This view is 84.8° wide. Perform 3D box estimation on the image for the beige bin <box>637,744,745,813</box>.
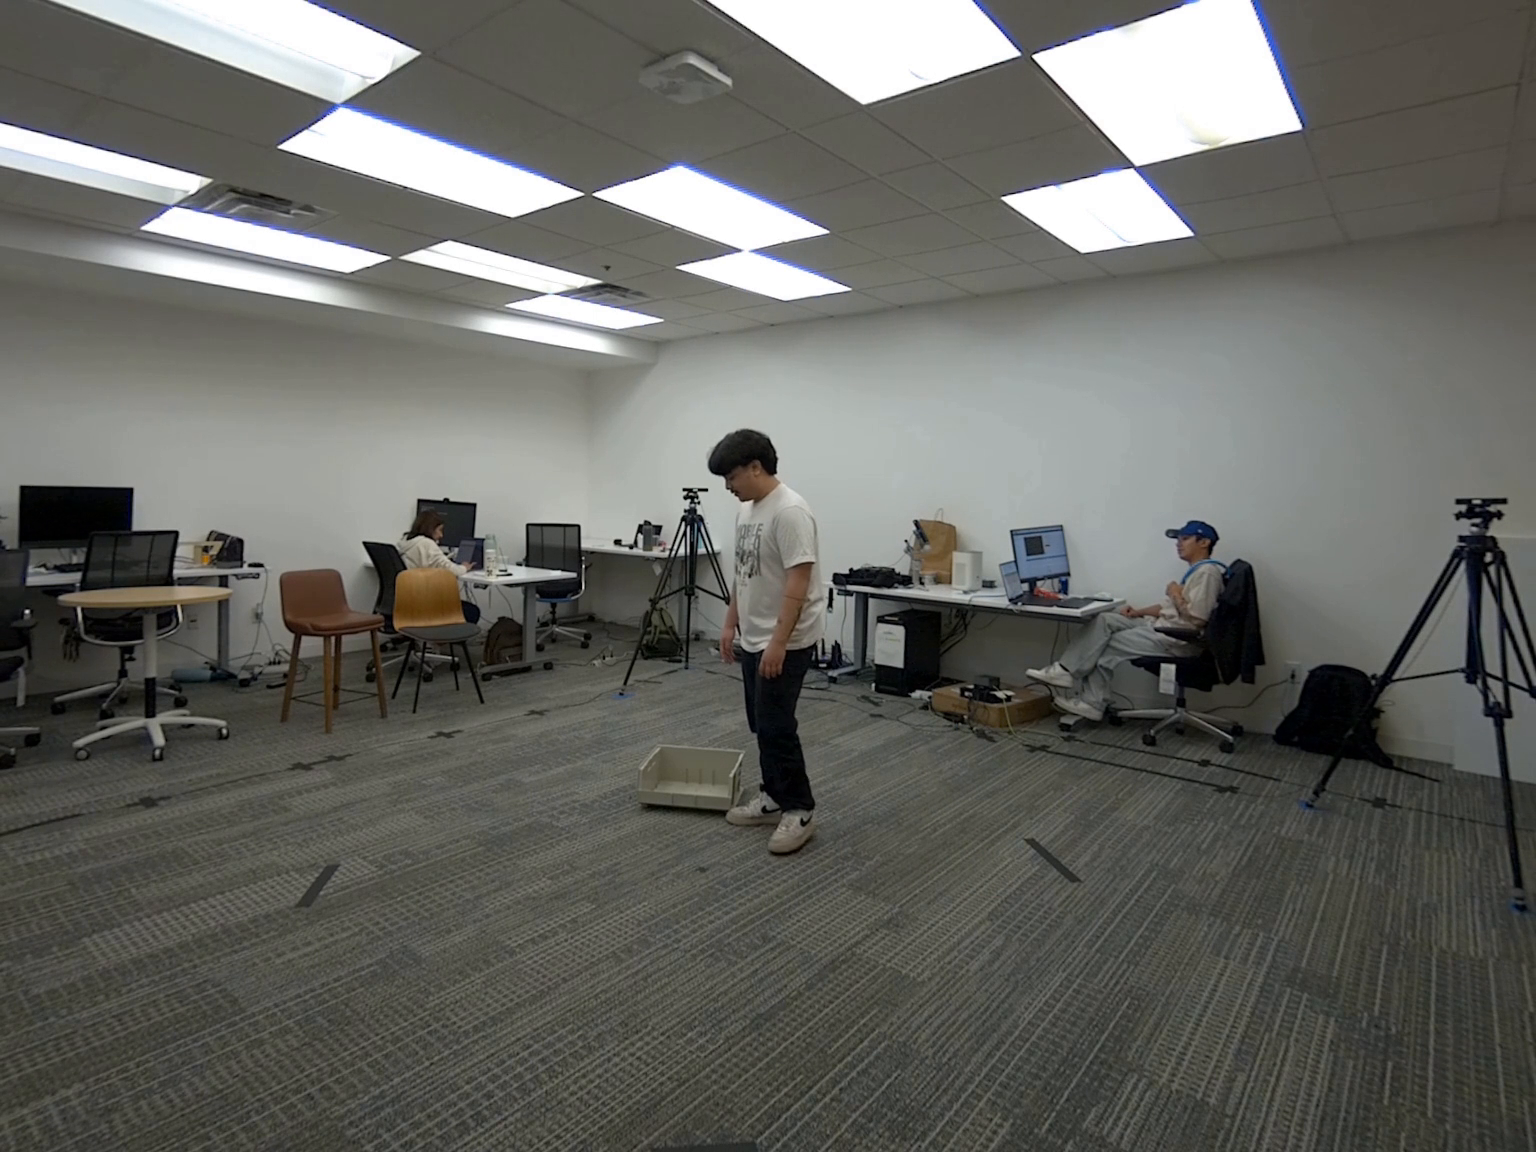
[{"bbox_3d":[-0.349,0.911,3.815,0.427,0.188,0.375,1,4,9],"label":"beige bin"}]
